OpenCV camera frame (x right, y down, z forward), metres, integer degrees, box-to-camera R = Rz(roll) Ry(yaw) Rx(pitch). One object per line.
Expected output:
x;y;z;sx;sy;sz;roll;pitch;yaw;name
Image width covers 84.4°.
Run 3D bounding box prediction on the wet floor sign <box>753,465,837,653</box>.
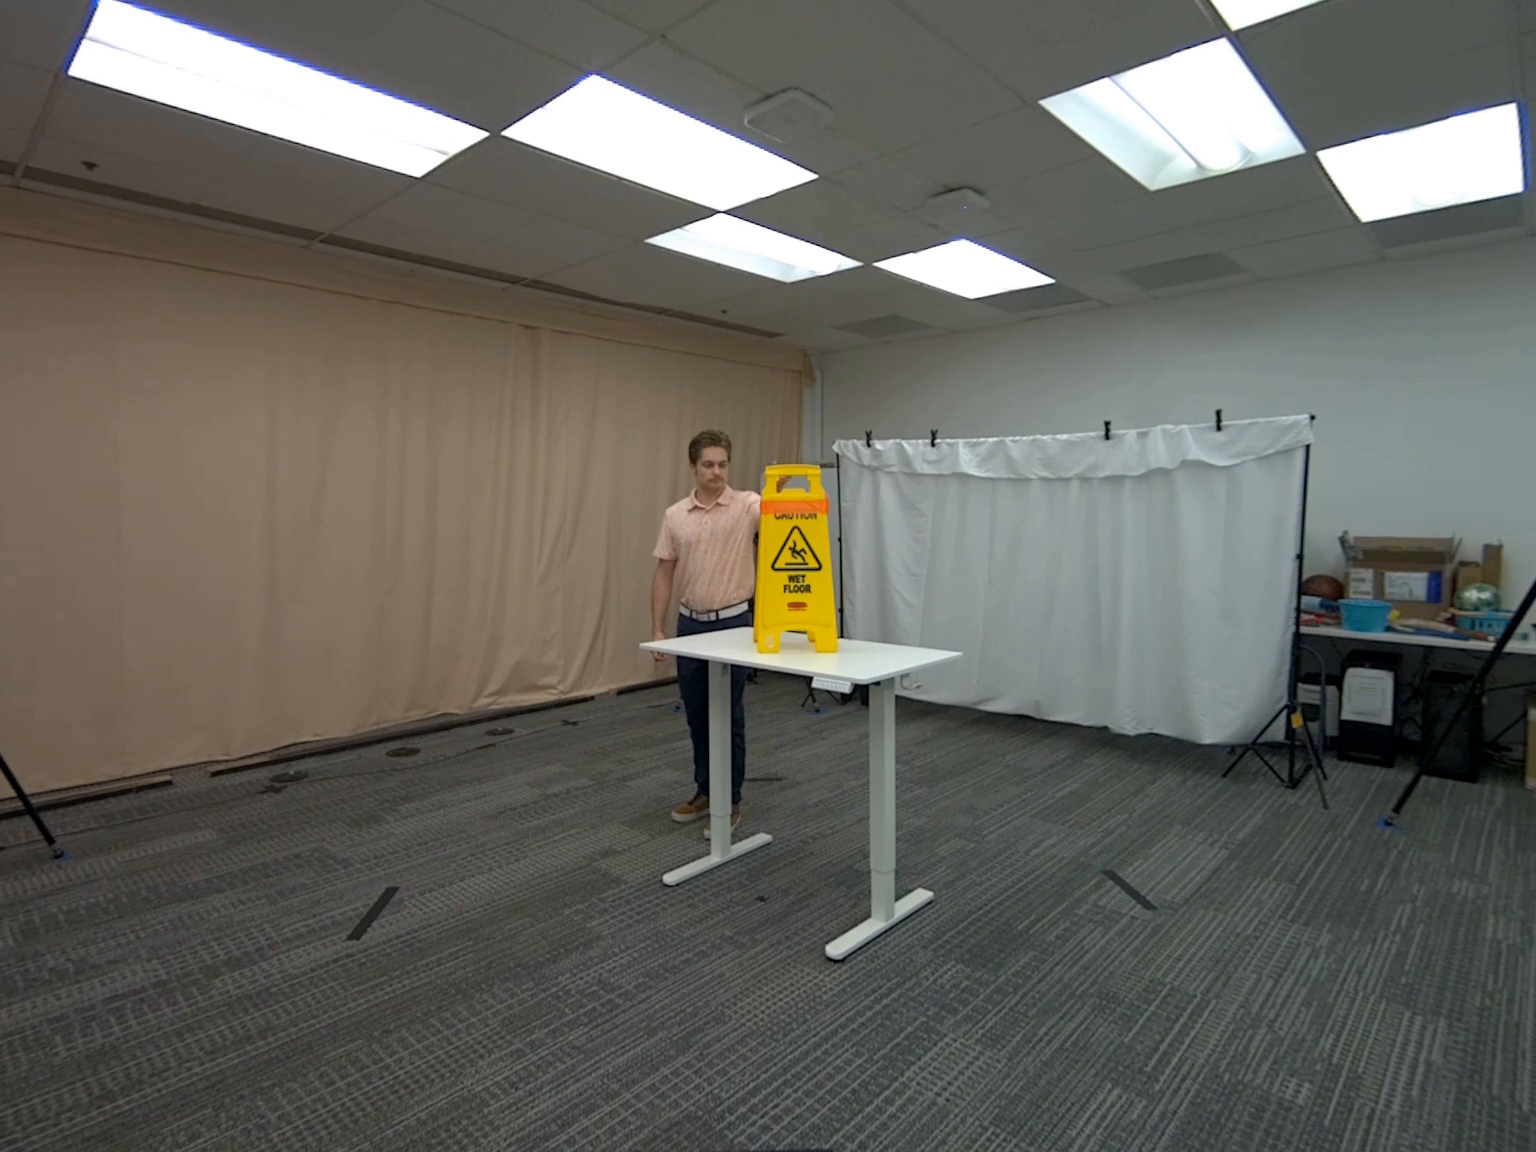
0.095;-0.064;3.010;0.282;0.645;0.290;1;3;-1;wet floor sign
